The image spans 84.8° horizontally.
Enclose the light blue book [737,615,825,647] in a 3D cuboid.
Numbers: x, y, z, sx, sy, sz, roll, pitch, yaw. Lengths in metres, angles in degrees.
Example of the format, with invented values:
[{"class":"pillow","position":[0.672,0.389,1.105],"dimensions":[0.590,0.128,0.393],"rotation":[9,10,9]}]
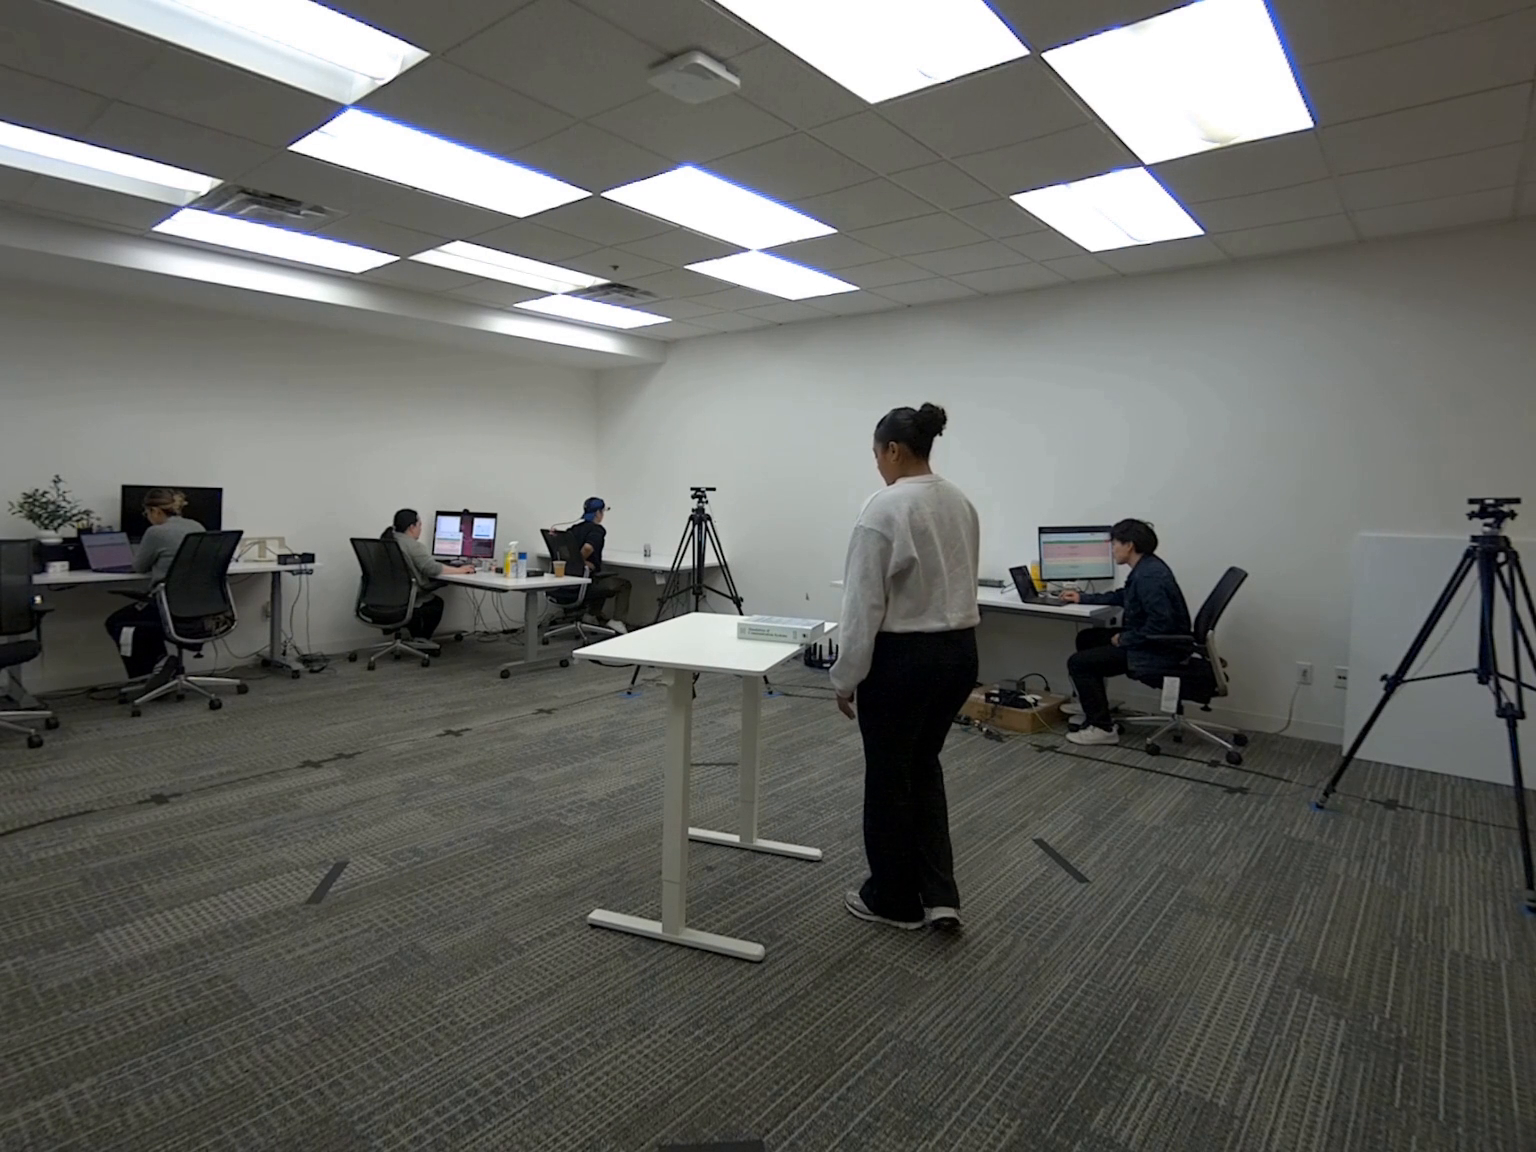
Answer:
[{"class":"light blue book","position":[0.036,0.185,2.917],"dimensions":[0.267,0.059,0.187],"rotation":[4,5,21]}]
